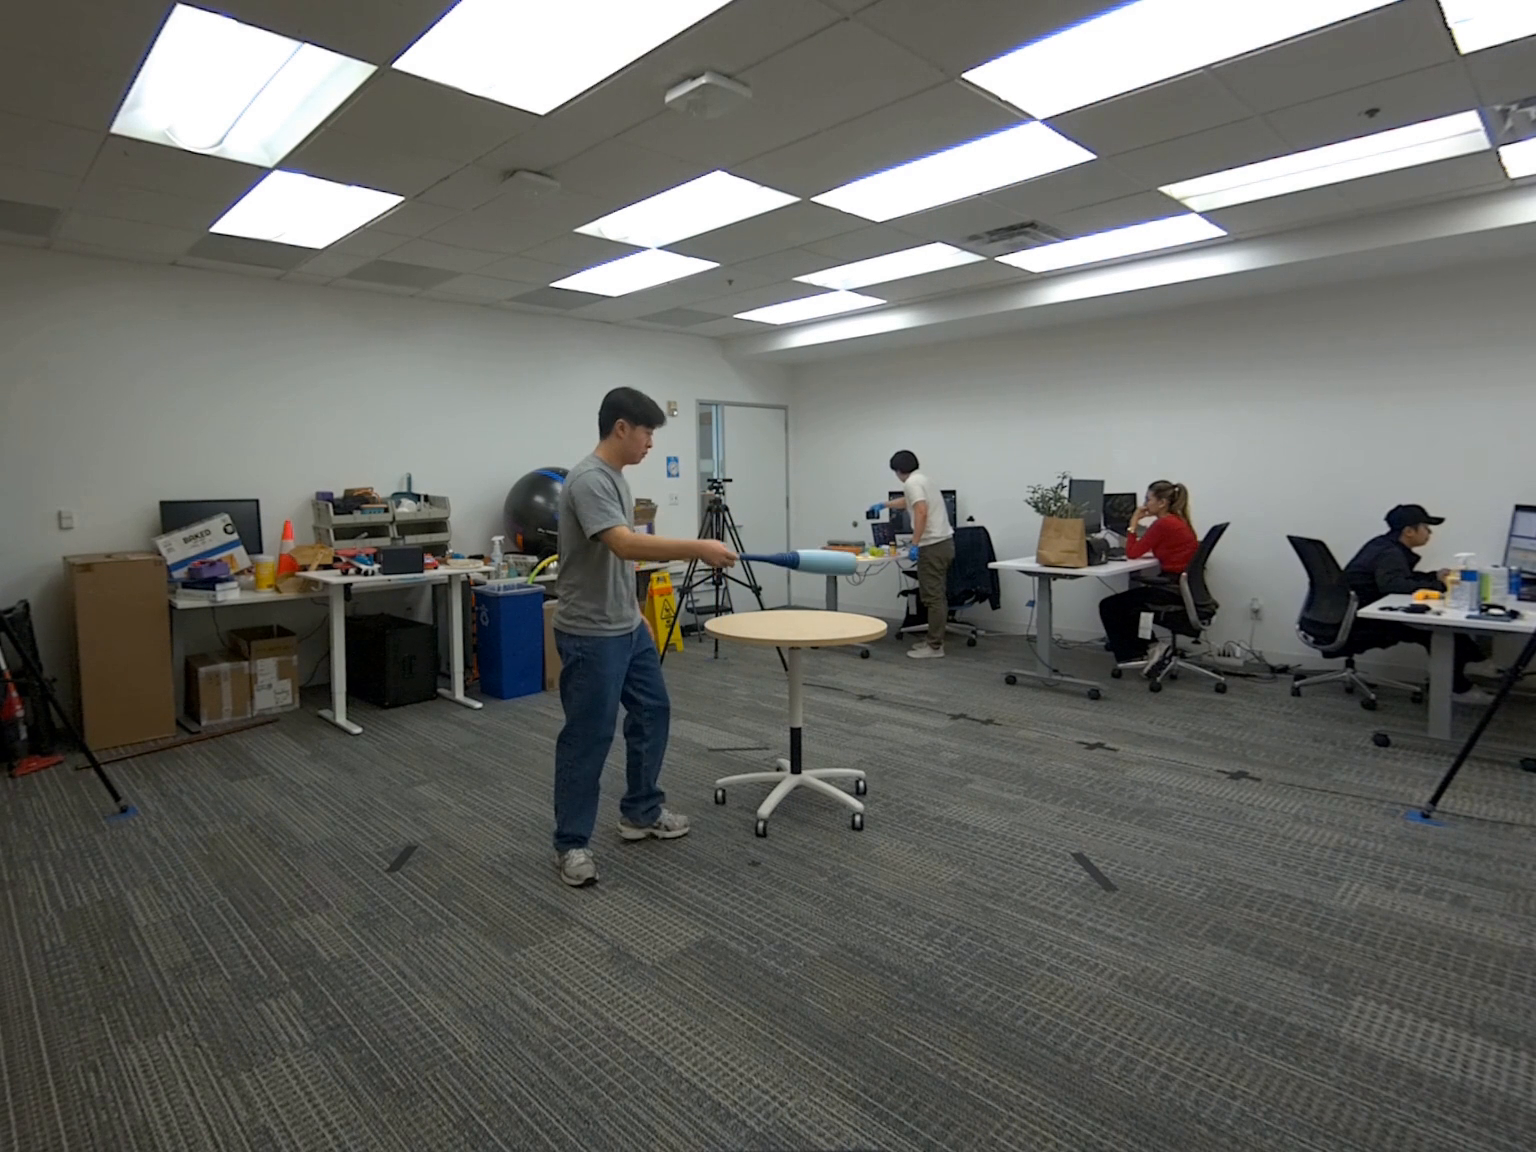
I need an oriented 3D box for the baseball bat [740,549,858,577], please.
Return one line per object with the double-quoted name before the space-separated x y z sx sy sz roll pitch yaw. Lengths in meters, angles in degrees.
"baseball bat" 0.052 -0.027 2.979 0.533 0.089 0.091 4 3 -19
